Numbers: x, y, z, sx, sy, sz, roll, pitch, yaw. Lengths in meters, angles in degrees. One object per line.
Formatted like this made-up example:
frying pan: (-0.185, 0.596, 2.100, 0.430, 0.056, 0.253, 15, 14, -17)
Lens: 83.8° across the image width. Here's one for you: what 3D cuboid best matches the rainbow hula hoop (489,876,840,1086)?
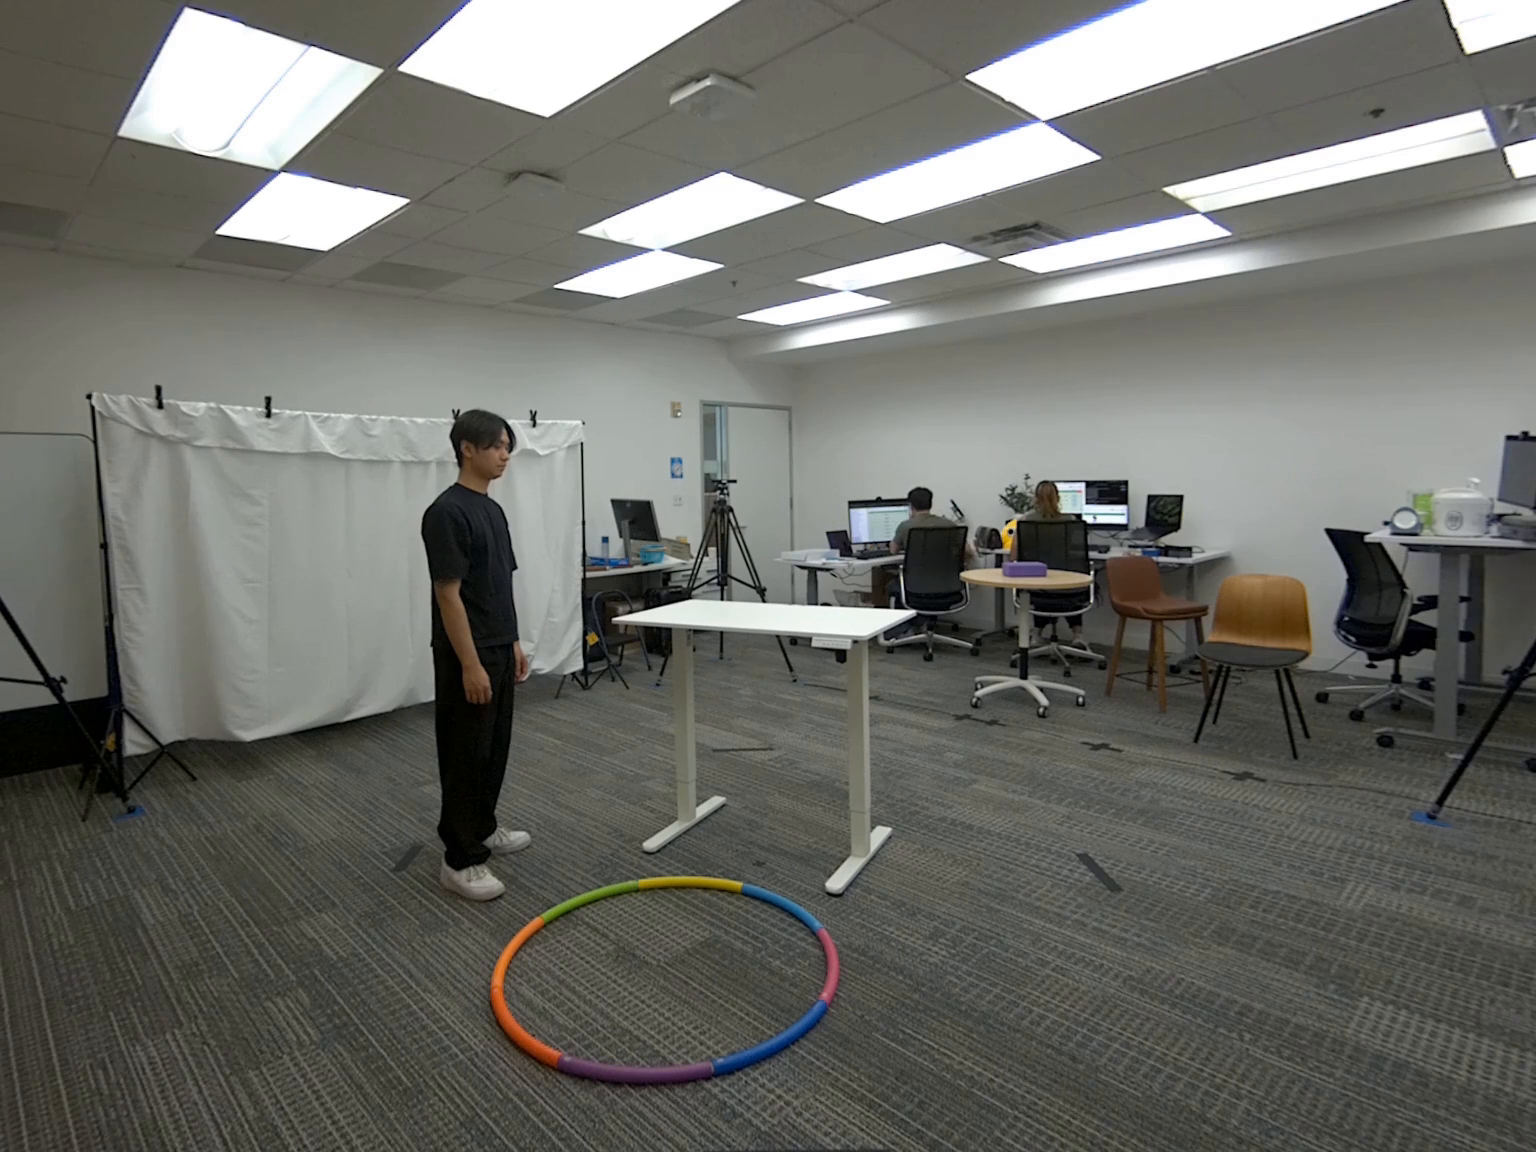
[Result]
rainbow hula hoop: (-0.284, 1.099, 2.470, 0.978, 0.035, 0.984, -1, 6, -2)
